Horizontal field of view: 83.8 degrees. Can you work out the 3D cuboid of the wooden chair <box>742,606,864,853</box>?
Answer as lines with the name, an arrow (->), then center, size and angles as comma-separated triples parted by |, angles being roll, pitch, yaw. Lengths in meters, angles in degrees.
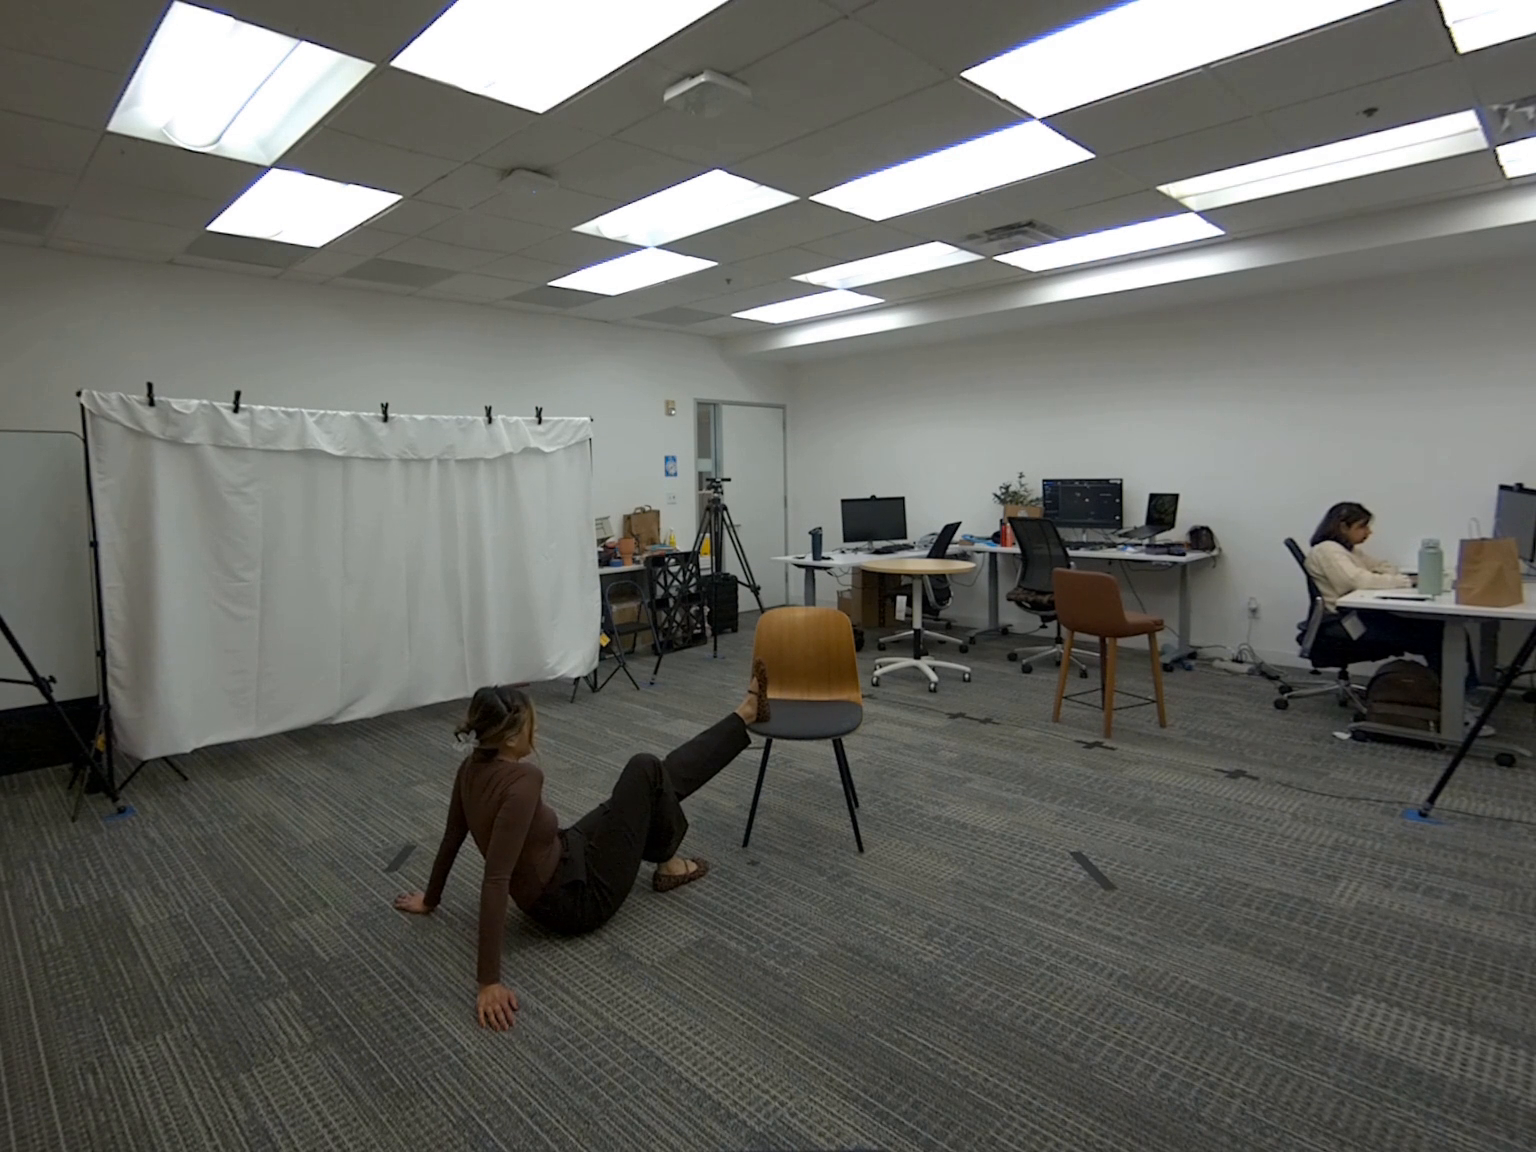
wooden chair -> 0.140, 0.579, 3.385 | 0.481, 0.877, 0.519 | 0, 0, 6
